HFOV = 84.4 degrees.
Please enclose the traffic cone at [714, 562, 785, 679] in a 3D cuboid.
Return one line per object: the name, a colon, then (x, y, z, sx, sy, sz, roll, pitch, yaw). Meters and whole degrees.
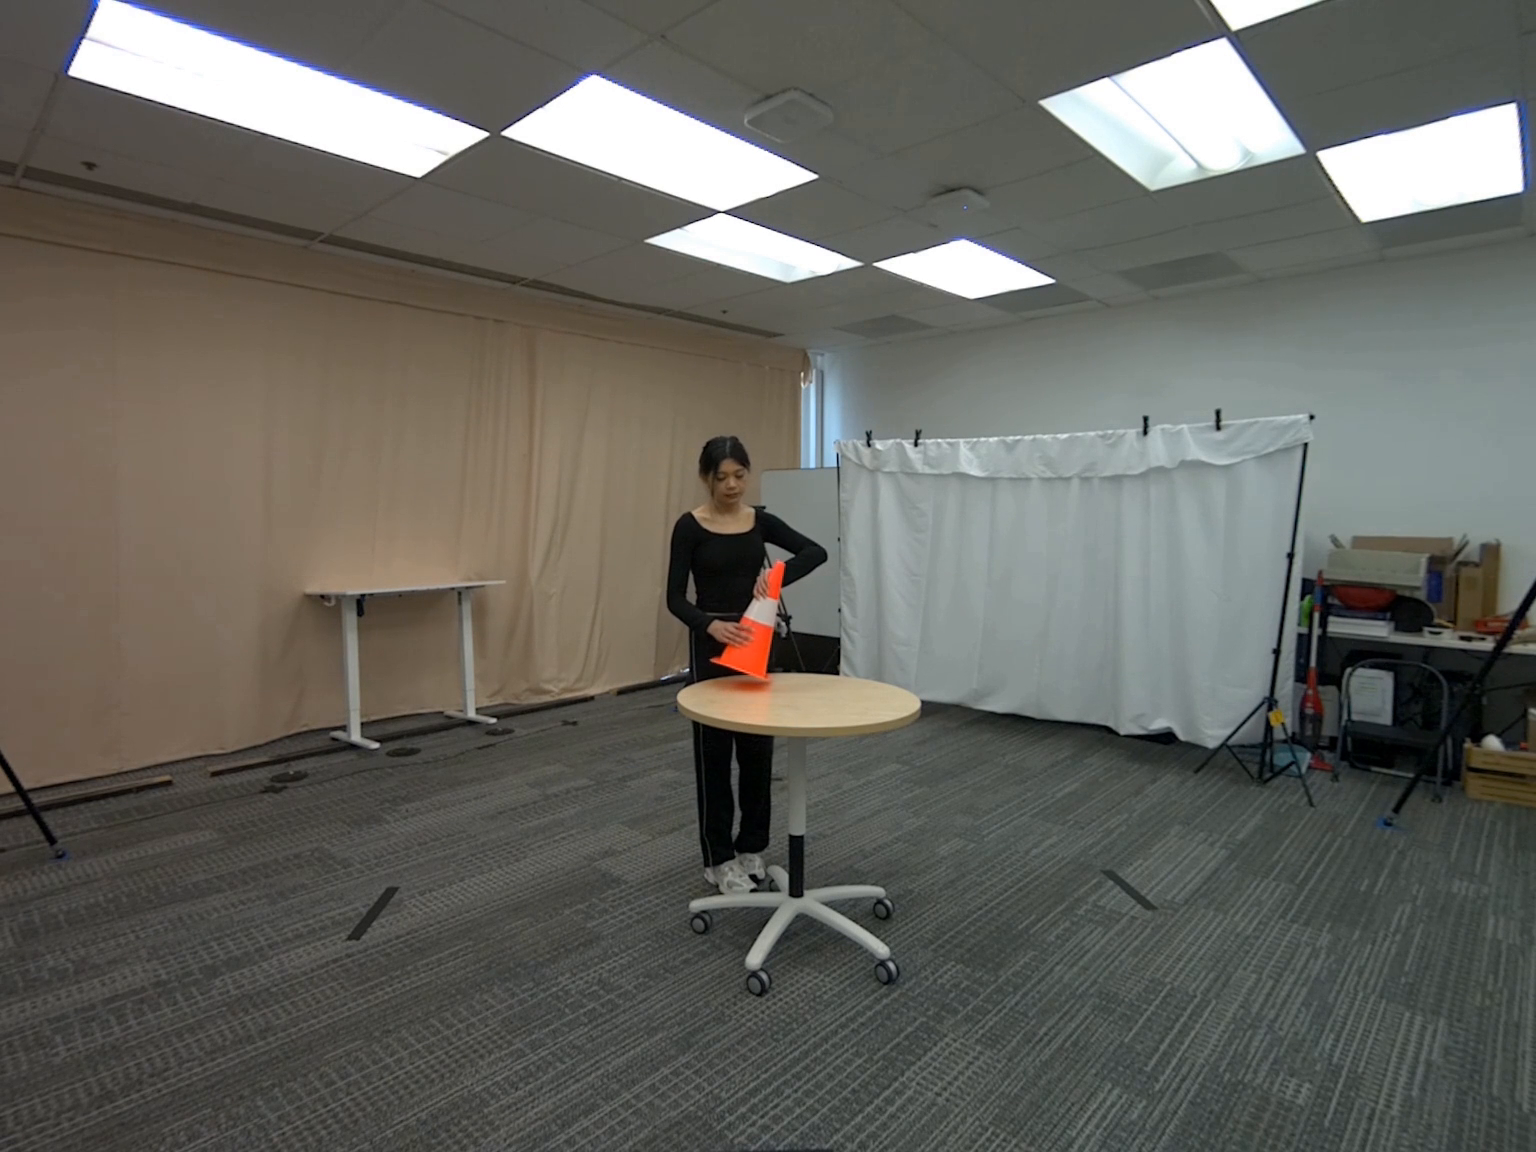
traffic cone: (-0.017, 0.137, 2.839, 0.206, 0.384, 0.202, 20, -1, 9)
